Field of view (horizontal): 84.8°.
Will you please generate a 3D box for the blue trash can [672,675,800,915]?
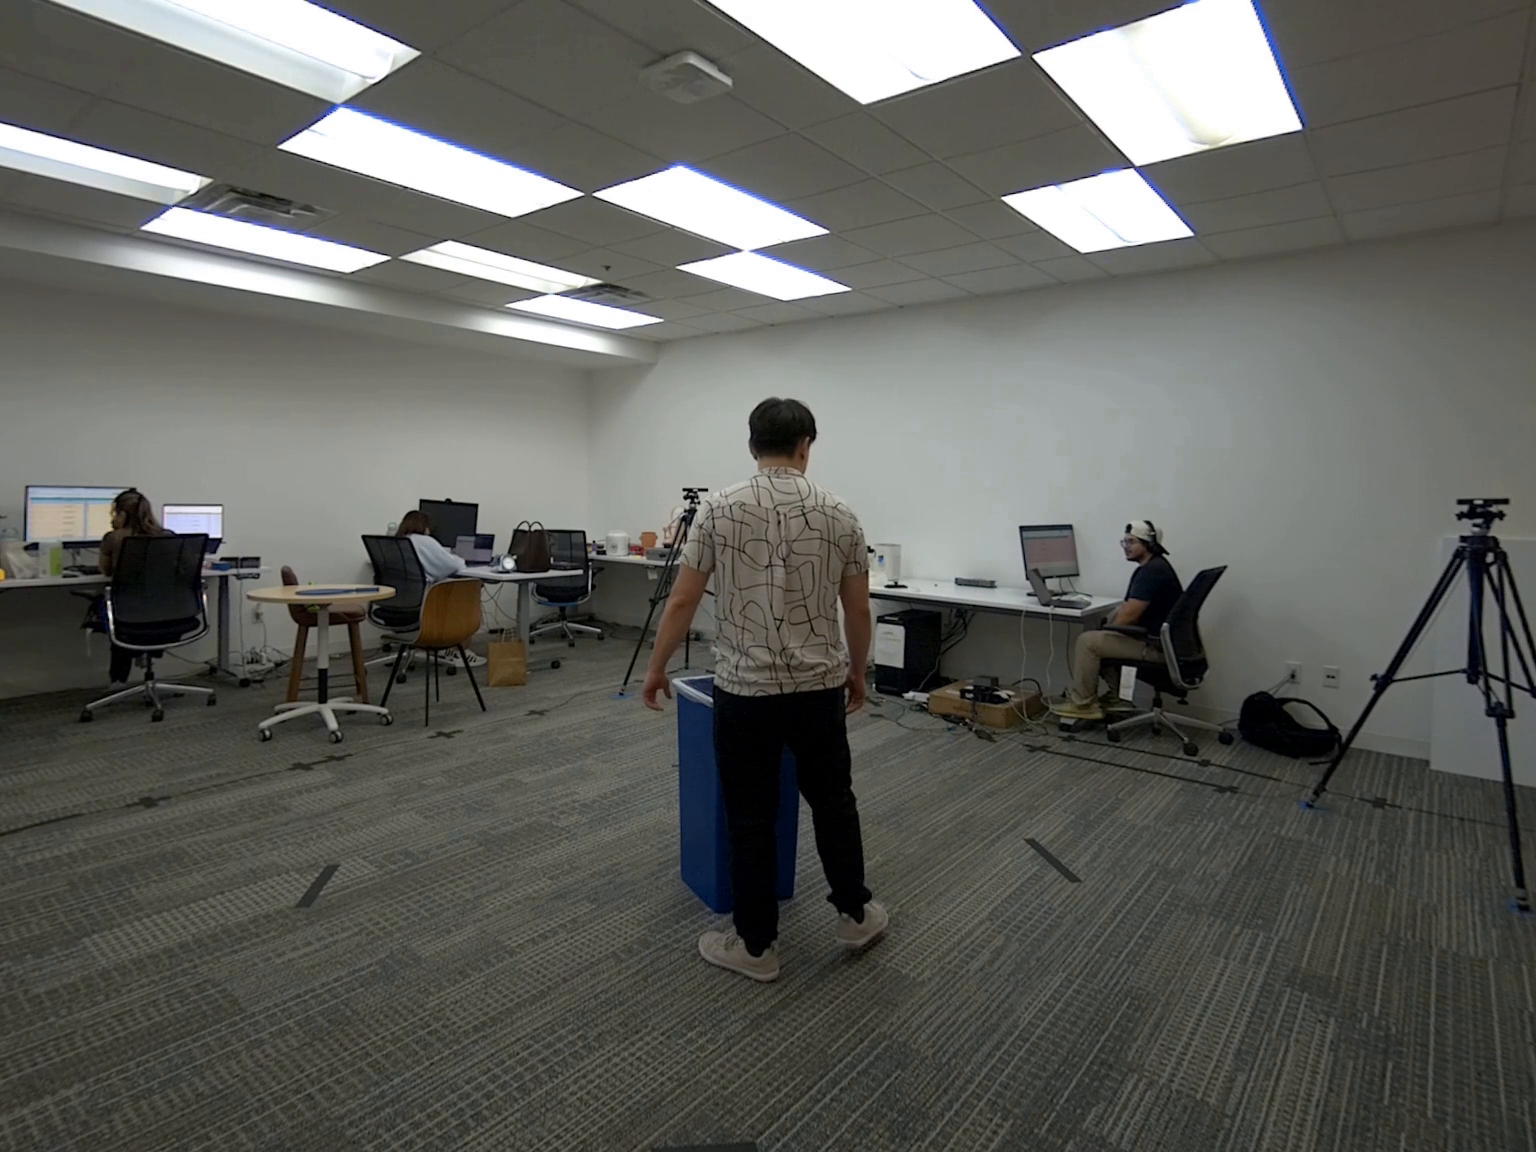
[{"bbox_3d":[-0.121,0.727,2.958,0.368,0.711,0.385,-1,4,-30],"label":"blue trash can"}]
